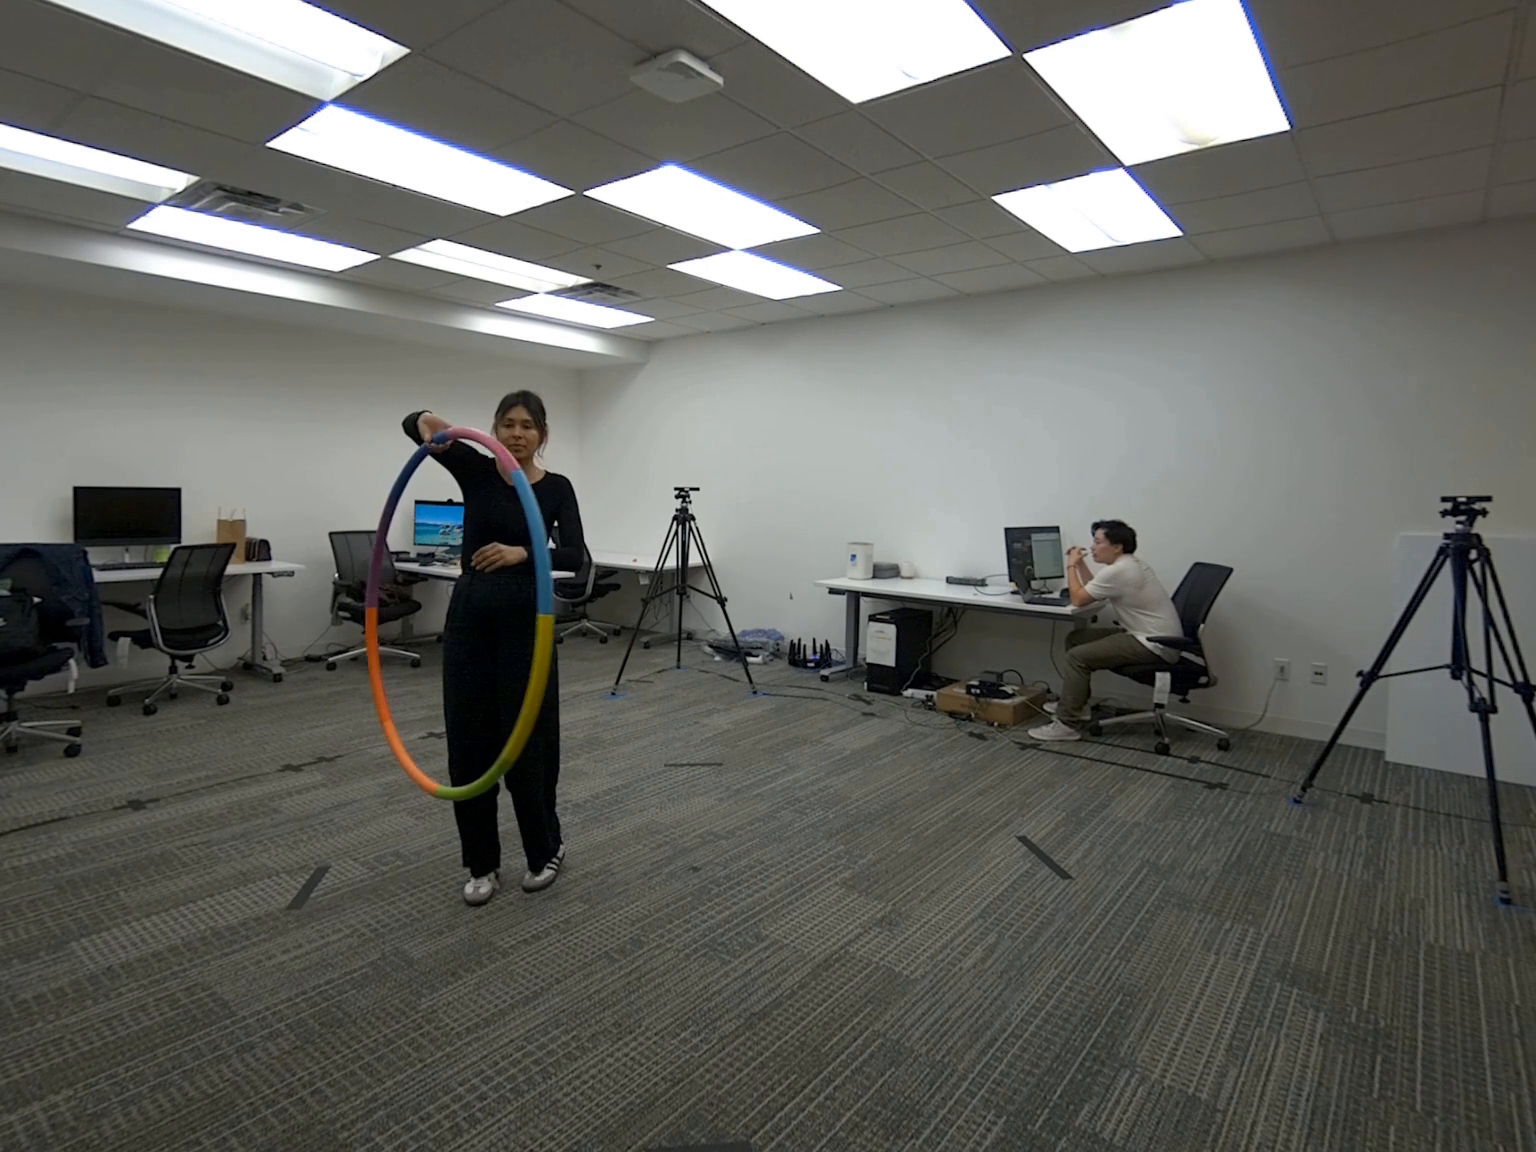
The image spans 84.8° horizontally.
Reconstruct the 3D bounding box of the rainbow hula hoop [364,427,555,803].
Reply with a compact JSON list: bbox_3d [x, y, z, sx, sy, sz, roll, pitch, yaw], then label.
[{"bbox_3d":[-0.879,0.093,2.304,1.019,0.986,0.050,5,-1,44],"label":"rainbow hula hoop"}]
